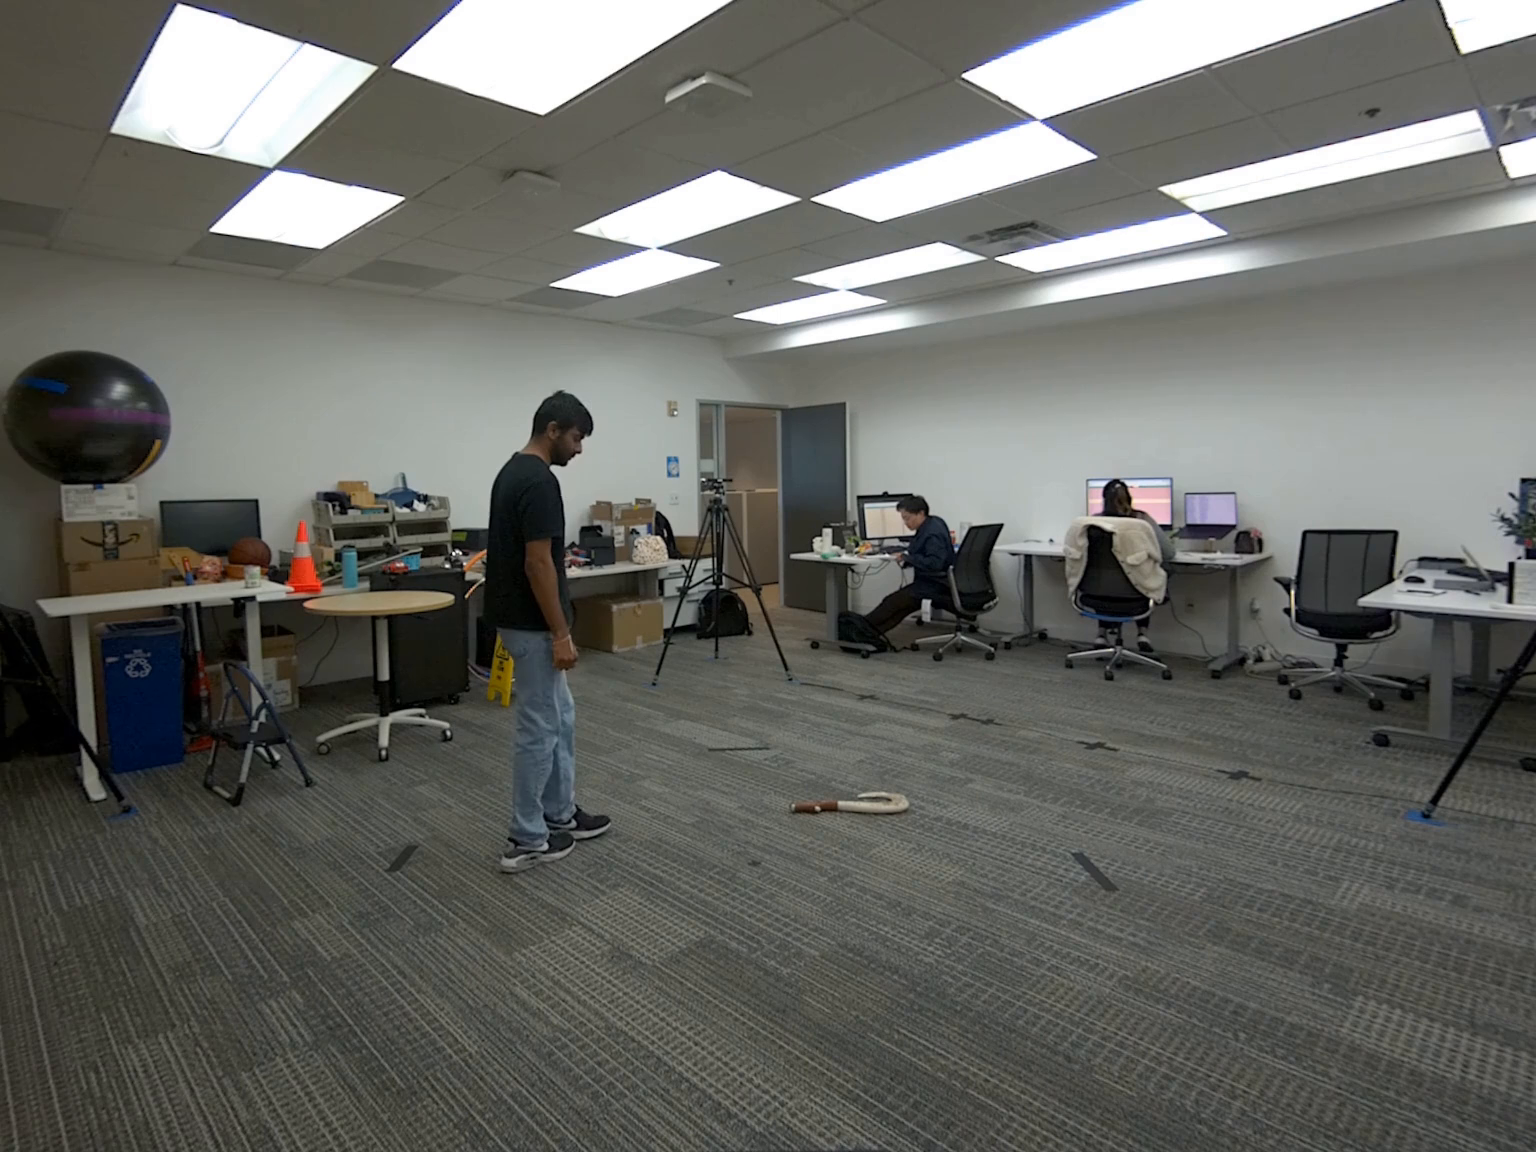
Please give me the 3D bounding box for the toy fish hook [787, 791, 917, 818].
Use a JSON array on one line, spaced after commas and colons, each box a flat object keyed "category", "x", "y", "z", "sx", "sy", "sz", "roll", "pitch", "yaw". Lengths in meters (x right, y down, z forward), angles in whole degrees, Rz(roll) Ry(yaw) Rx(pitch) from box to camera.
[{"category": "toy fish hook", "x": 0.344, "y": 0.964, "z": 3.632, "sx": 0.506, "sy": 0.048, "sz": 0.224, "roll": 0, "pitch": -2, "yaw": -2}]
